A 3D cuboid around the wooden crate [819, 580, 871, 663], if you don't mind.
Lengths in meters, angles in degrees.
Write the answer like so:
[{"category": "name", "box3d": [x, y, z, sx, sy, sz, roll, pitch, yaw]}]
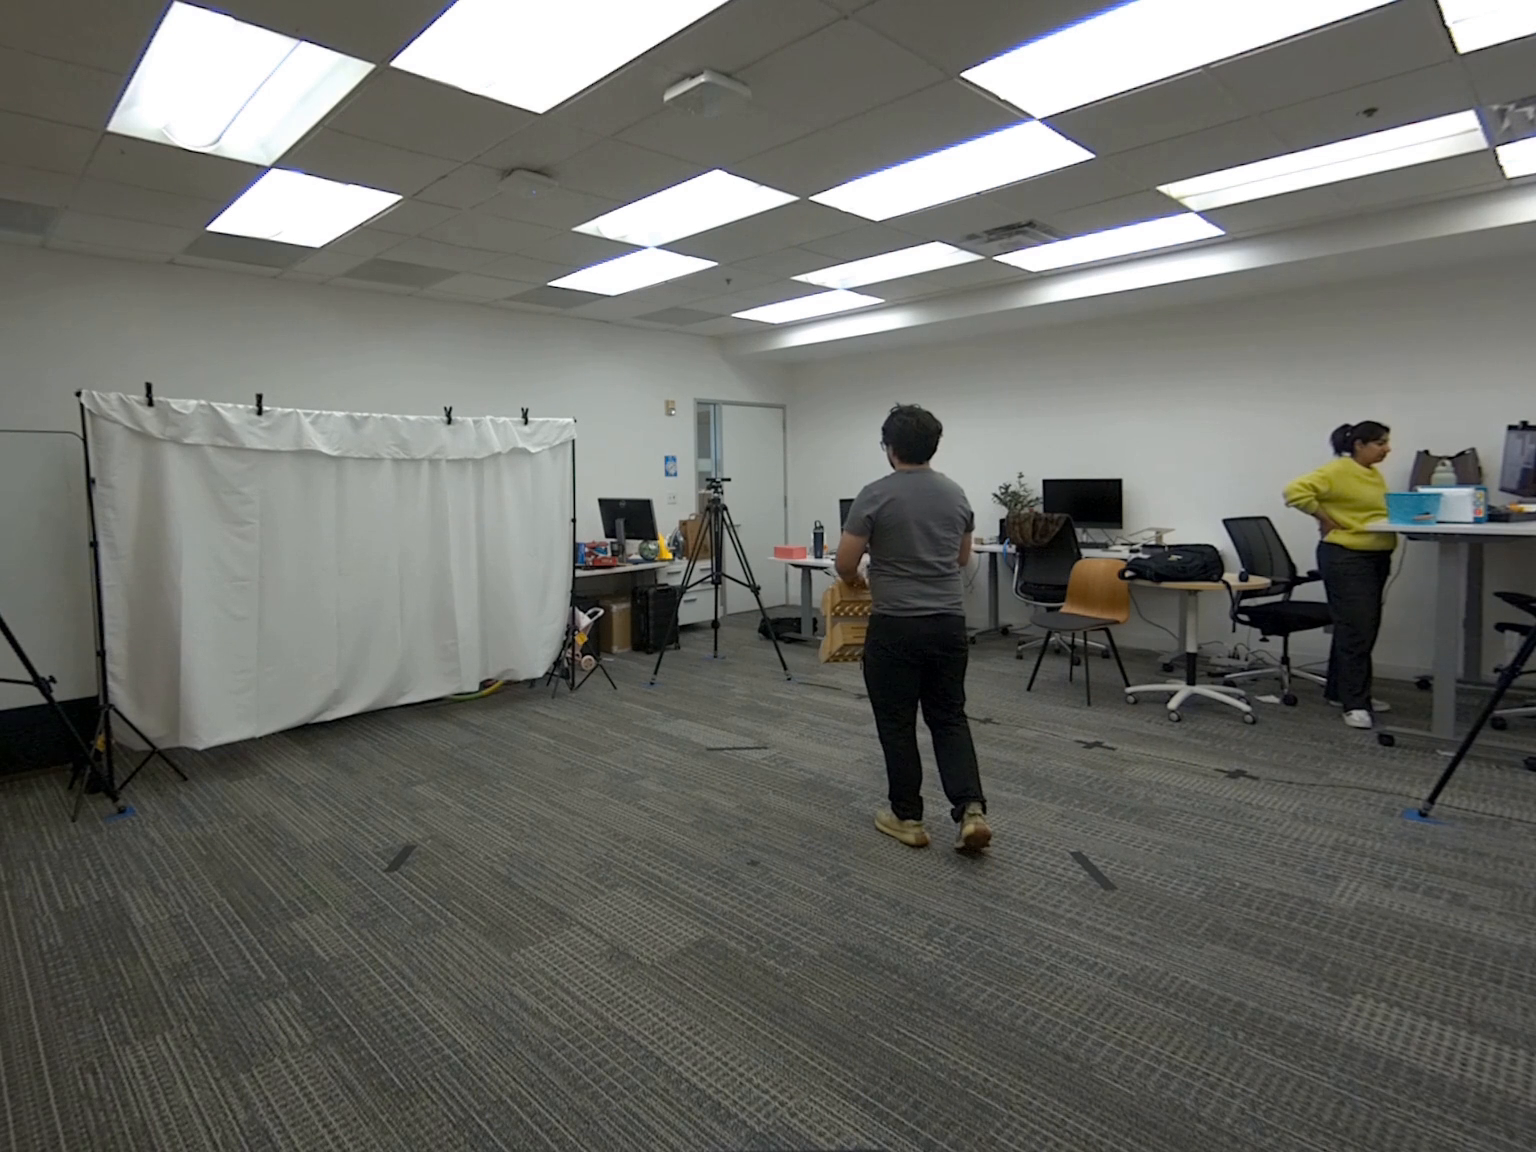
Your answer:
[{"category": "wooden crate", "box3d": [0.390, 0.191, 3.576, 0.319, 0.280, 0.300, 1, -26, -19]}]
